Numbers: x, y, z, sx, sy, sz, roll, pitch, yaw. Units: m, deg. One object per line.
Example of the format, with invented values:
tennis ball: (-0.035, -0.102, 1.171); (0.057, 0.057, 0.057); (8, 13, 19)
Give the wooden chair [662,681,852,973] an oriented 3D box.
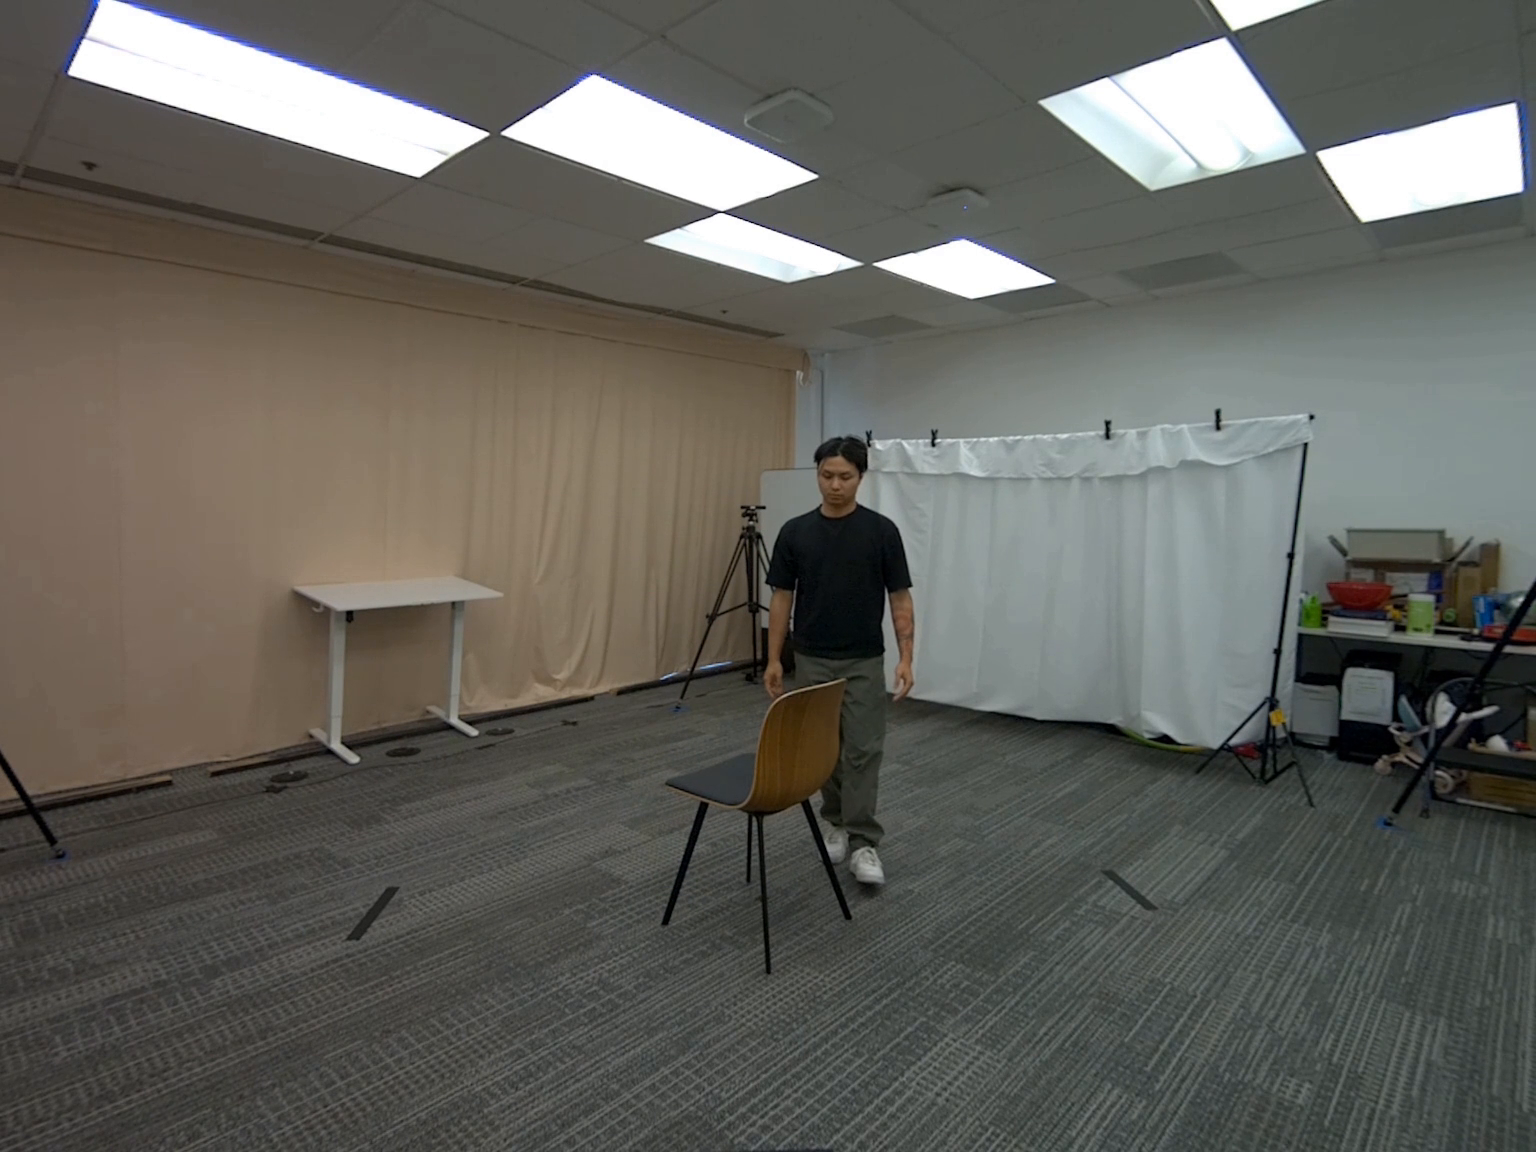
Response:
wooden chair: (-0.044, 0.729, 2.792); (0.541, 0.874, 0.464); (8, 8, 39)
